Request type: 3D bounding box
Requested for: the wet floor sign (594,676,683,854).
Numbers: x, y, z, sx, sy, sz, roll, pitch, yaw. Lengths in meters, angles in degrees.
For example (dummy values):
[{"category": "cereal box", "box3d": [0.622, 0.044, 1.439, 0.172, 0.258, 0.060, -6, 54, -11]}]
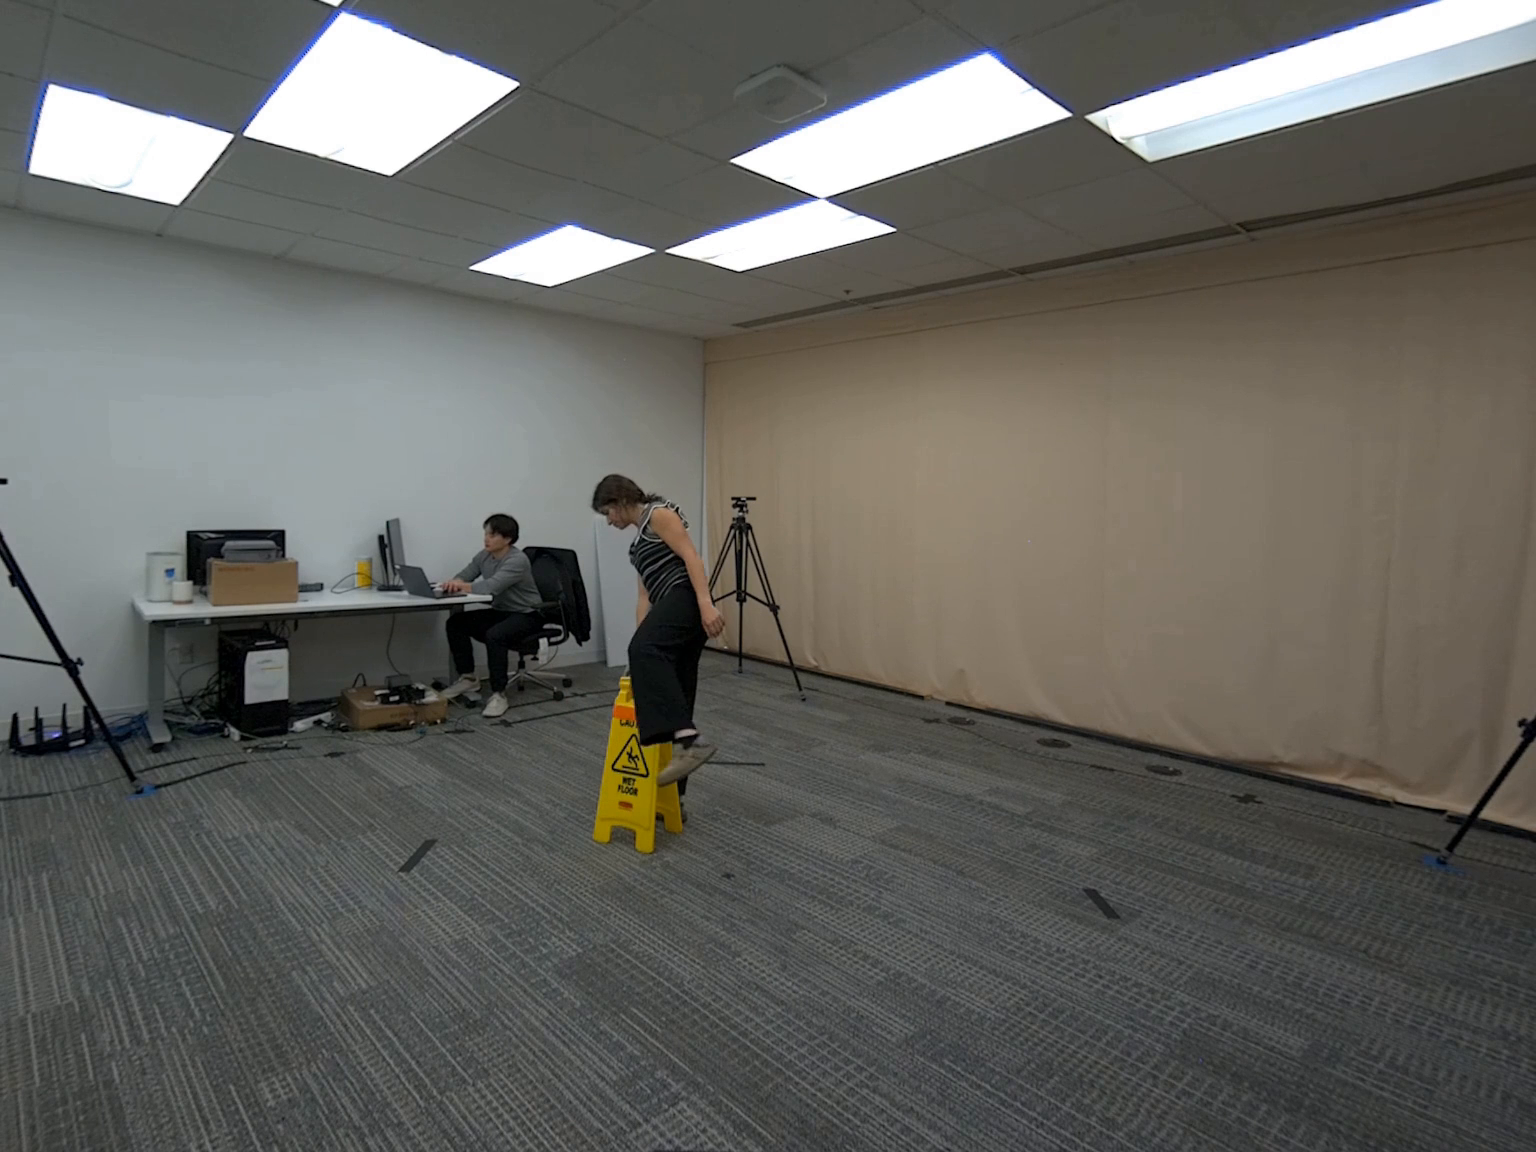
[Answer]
[{"category": "wet floor sign", "box3d": [-0.531, 0.745, 3.442, 0.288, 0.644, 0.285, 4, 4, 24]}]
